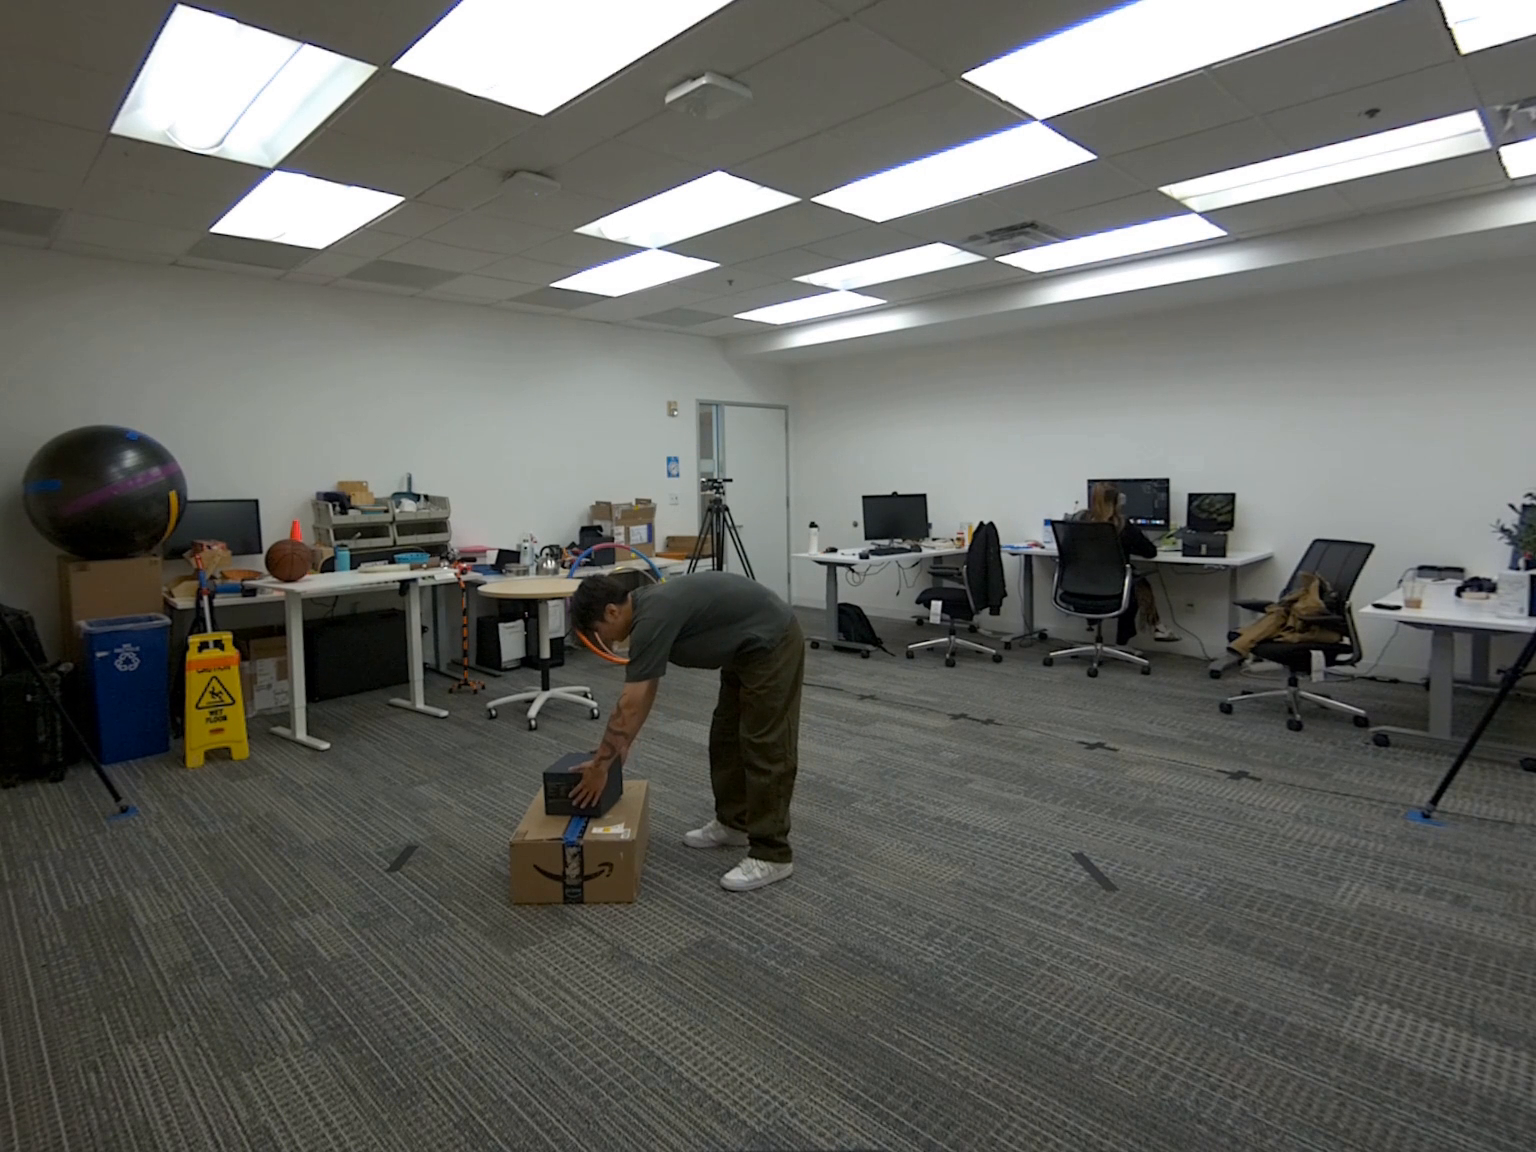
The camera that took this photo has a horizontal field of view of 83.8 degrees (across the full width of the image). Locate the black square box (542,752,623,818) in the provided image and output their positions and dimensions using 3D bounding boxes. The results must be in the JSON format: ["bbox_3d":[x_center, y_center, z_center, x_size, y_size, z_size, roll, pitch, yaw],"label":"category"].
[{"bbox_3d":[-0.674,0.759,3.113,0.219,0.155,0.226,-2,5,12],"label":"black square box"}]
